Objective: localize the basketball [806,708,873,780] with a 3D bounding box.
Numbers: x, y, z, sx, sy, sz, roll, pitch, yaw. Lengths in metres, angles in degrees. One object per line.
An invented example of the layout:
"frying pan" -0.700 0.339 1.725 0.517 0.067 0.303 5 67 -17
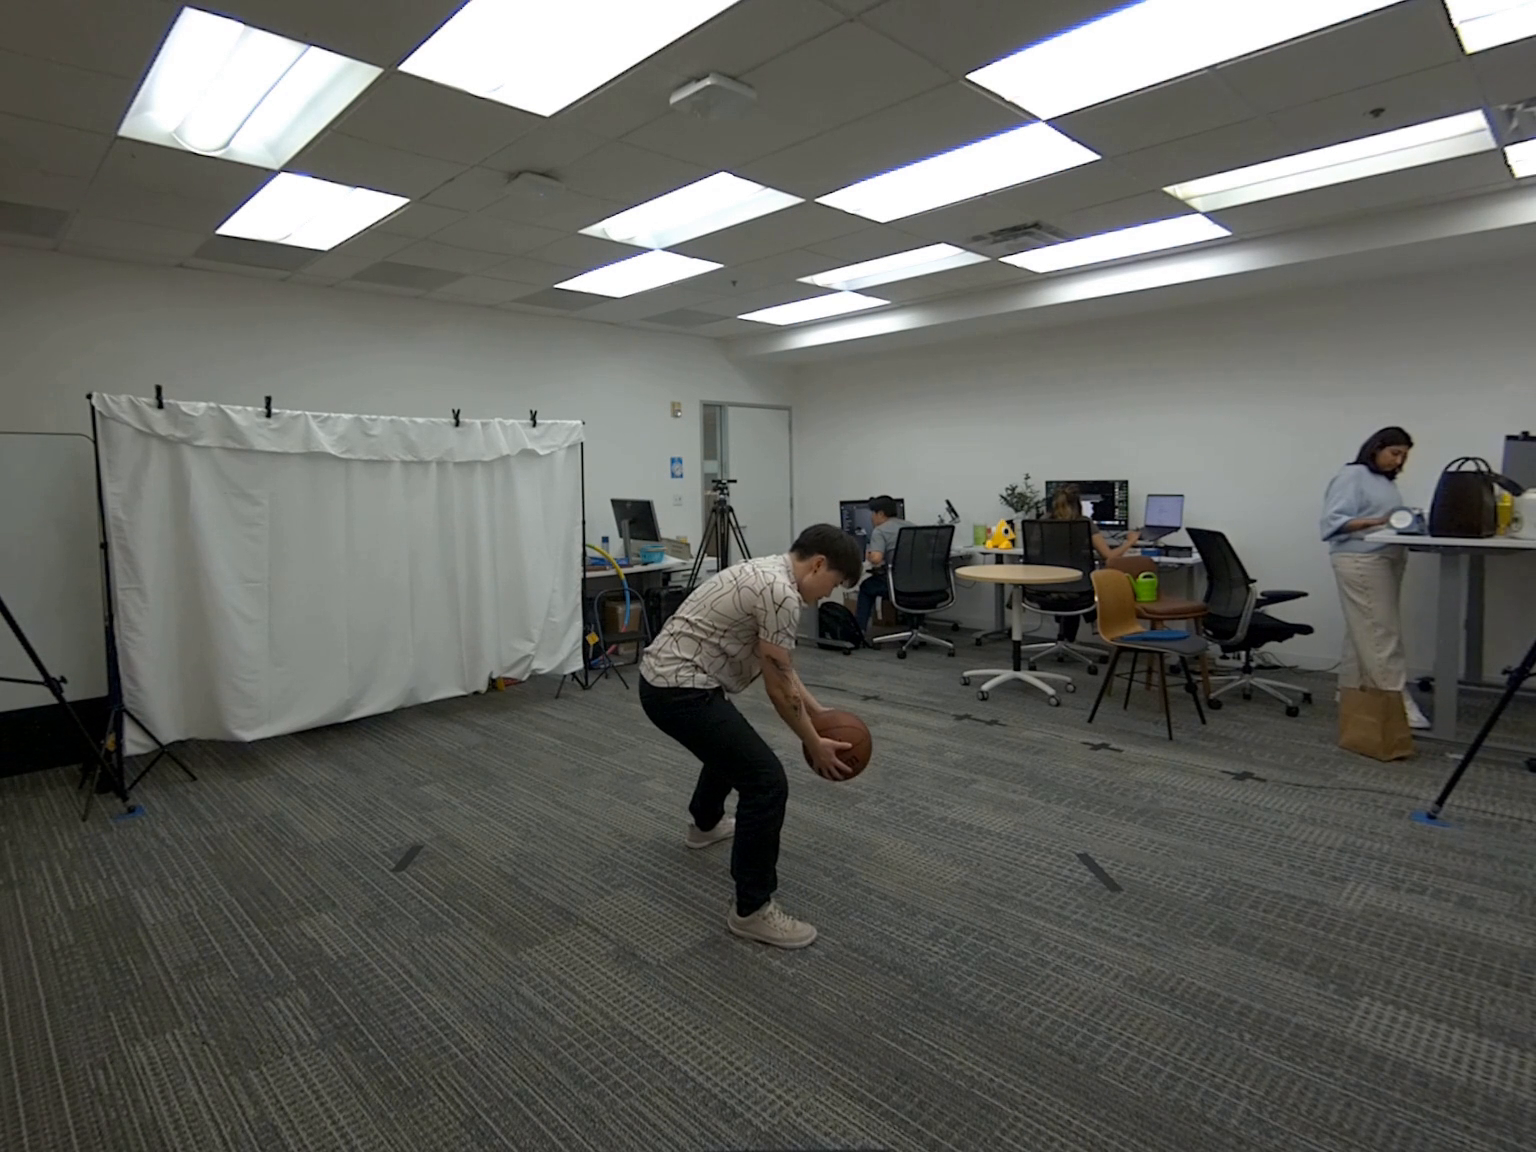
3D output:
"basketball" 0.237 0.564 2.914 0.236 0.235 0.237 -1 5 -2
